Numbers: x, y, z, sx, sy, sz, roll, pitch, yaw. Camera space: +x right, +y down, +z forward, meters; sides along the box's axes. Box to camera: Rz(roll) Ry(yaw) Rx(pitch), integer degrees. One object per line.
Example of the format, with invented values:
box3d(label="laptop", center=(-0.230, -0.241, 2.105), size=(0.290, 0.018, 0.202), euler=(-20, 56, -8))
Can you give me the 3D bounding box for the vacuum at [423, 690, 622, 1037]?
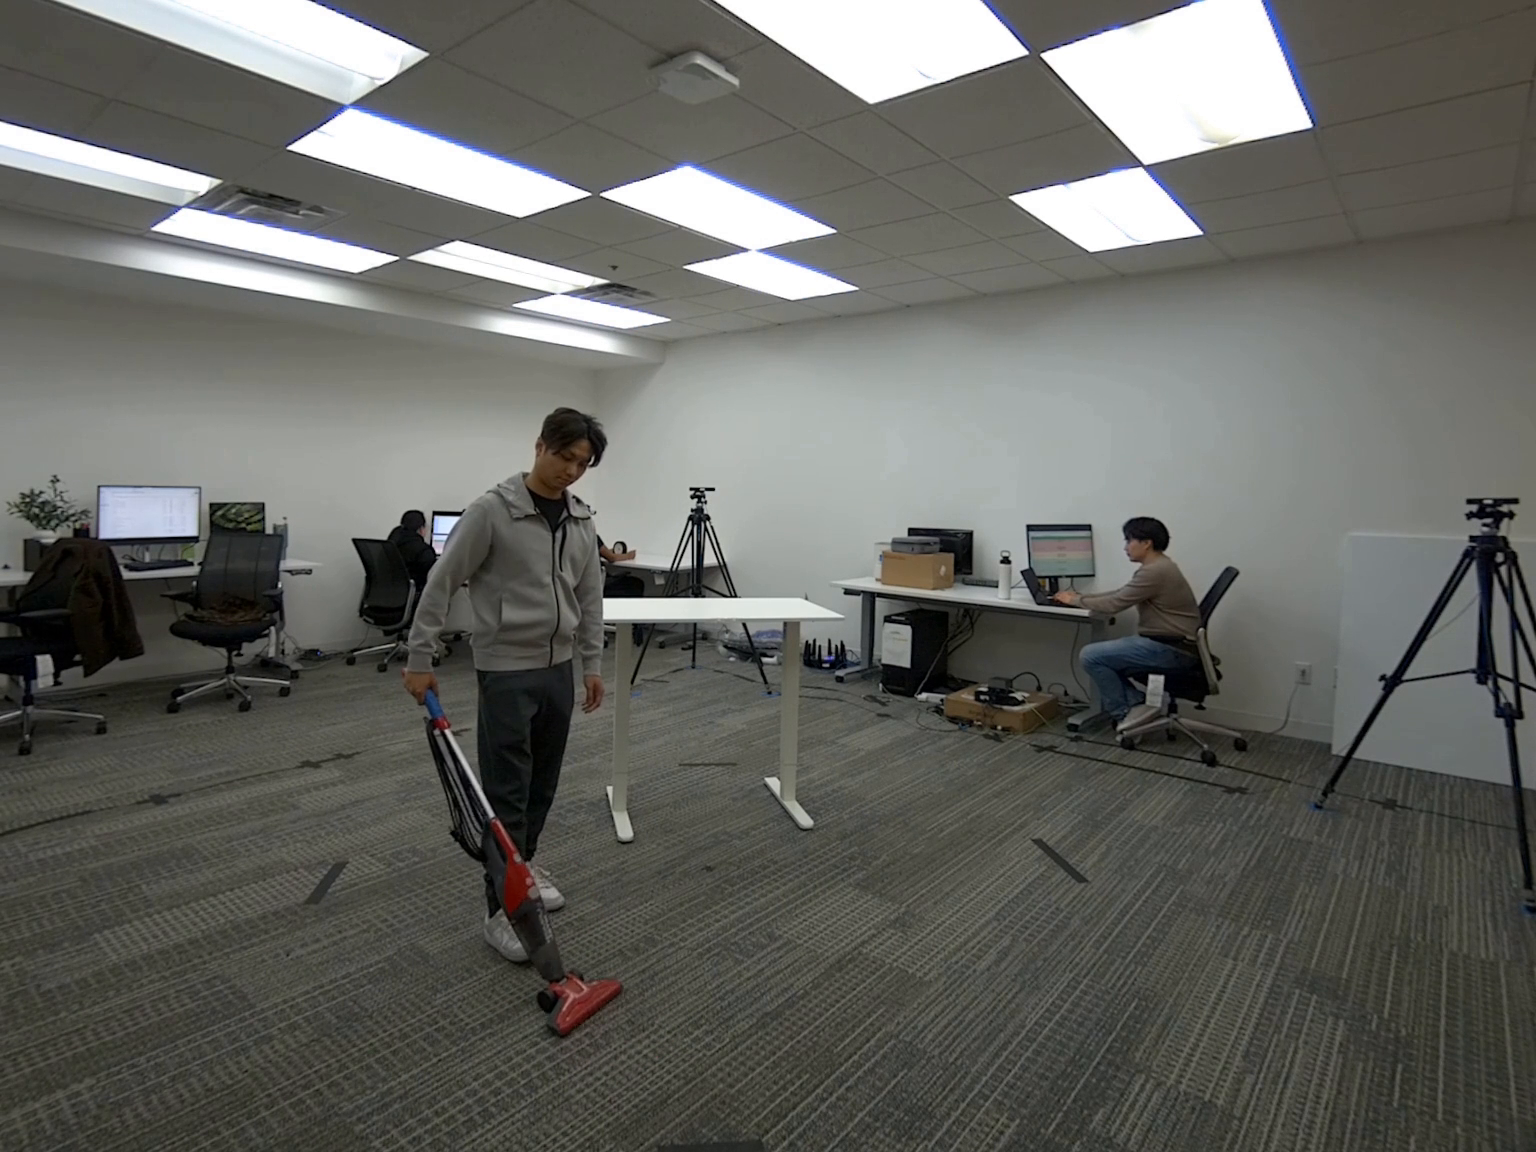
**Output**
box3d(label="vacuum", center=(-0.800, 0.724, 2.416), size=(0.144, 1.073, 0.246), euler=(-43, -17, 24))
